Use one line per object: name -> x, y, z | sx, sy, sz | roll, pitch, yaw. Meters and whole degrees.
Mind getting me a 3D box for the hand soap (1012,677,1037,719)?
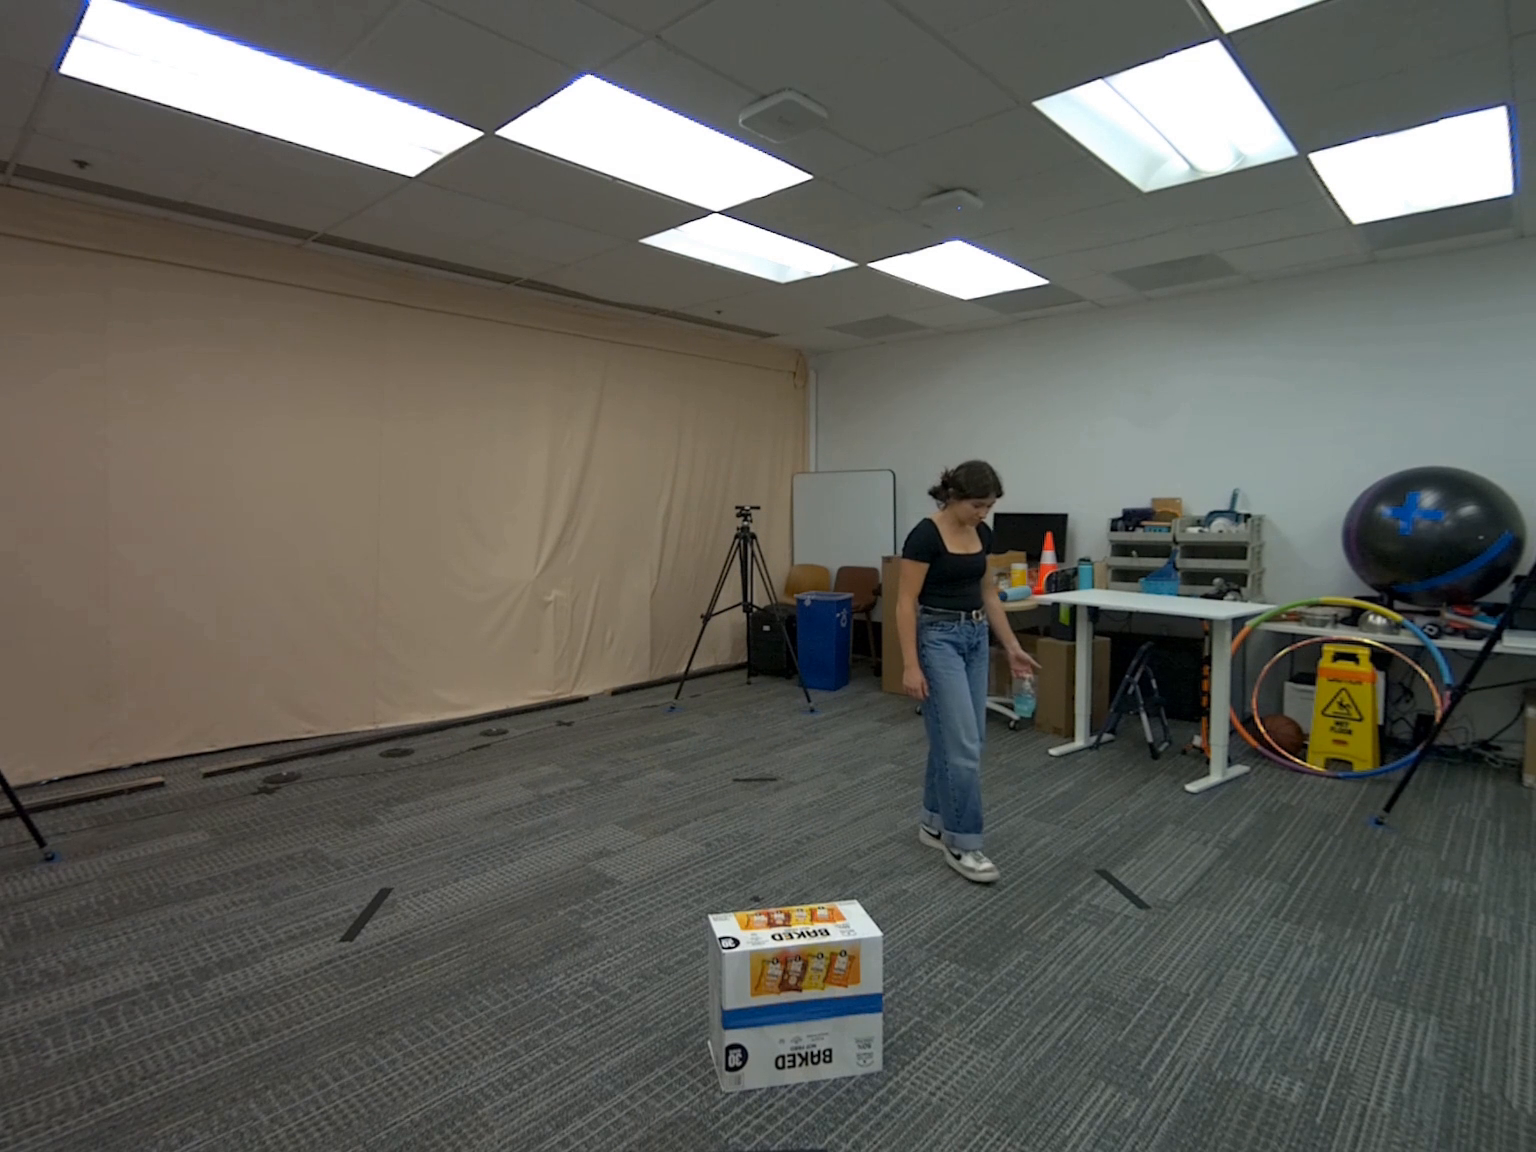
hand soap -> 1.033, 0.479, 3.360 | 0.086, 0.168, 0.042 | 7, 0, 21
